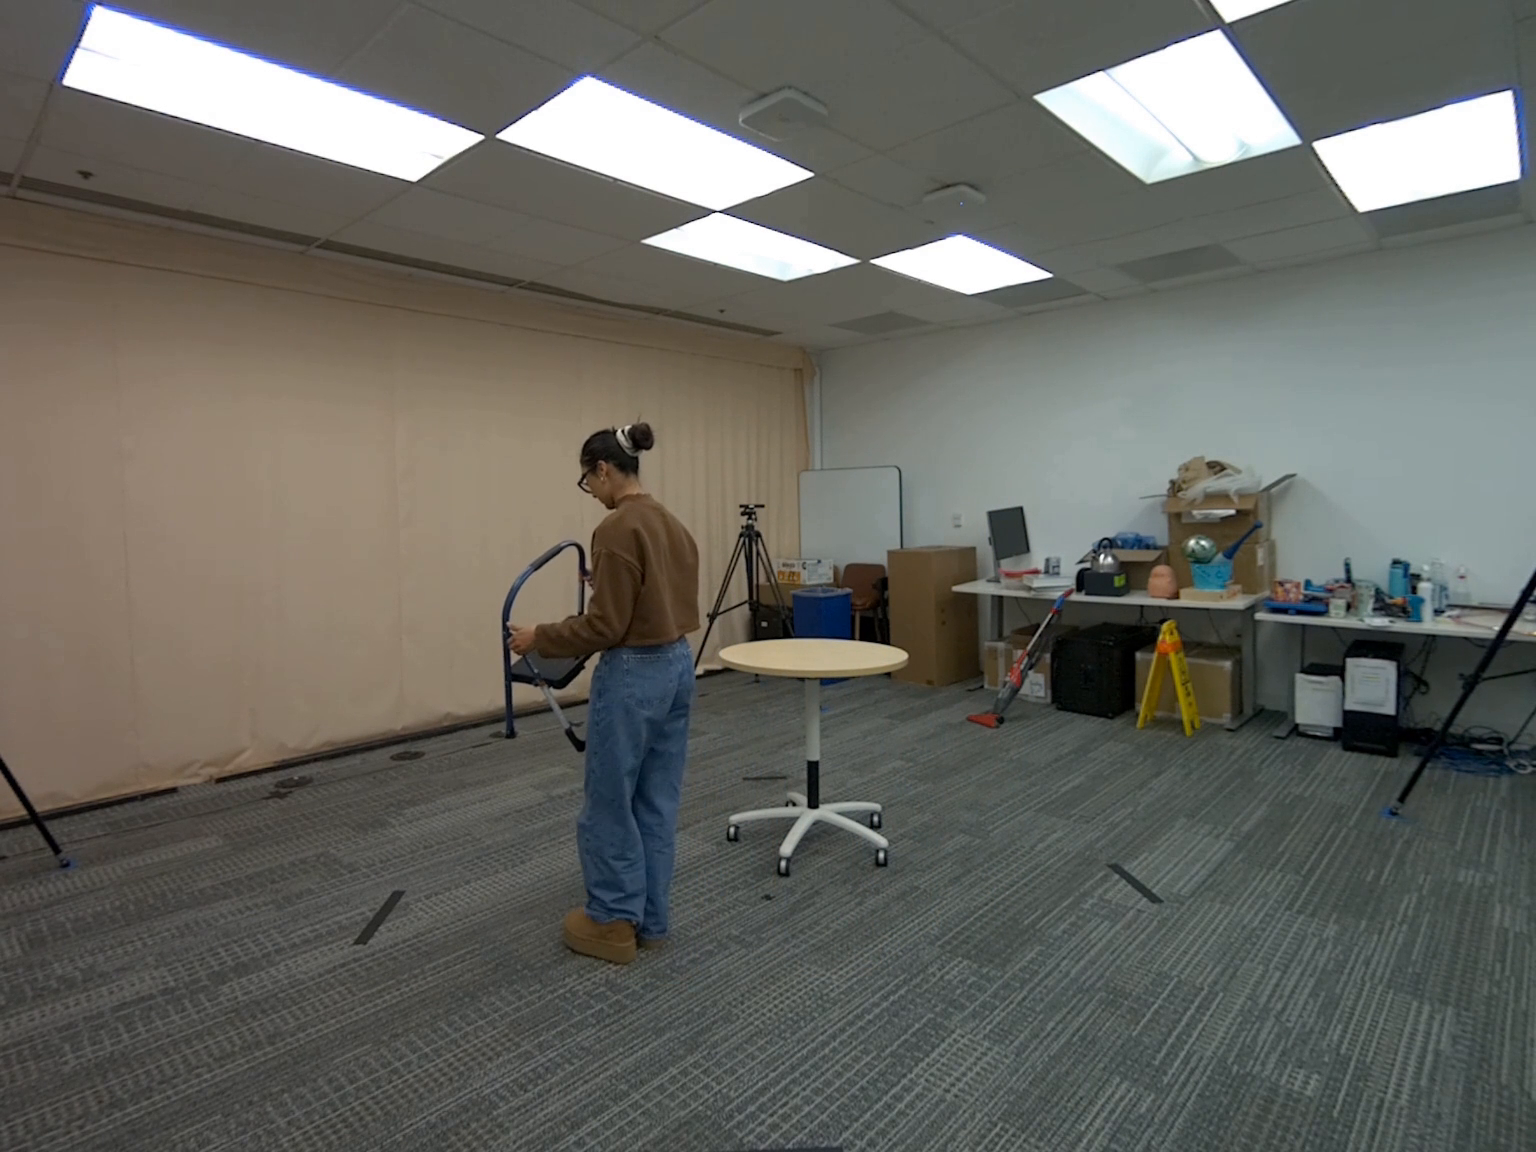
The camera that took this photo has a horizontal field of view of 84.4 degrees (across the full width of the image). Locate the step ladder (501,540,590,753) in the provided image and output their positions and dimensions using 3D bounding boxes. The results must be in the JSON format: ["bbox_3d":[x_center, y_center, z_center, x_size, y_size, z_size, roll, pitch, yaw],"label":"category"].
[{"bbox_3d":[-0.705,0.200,2.799,0.359,0.594,0.427,3,30,30],"label":"step ladder"}]
